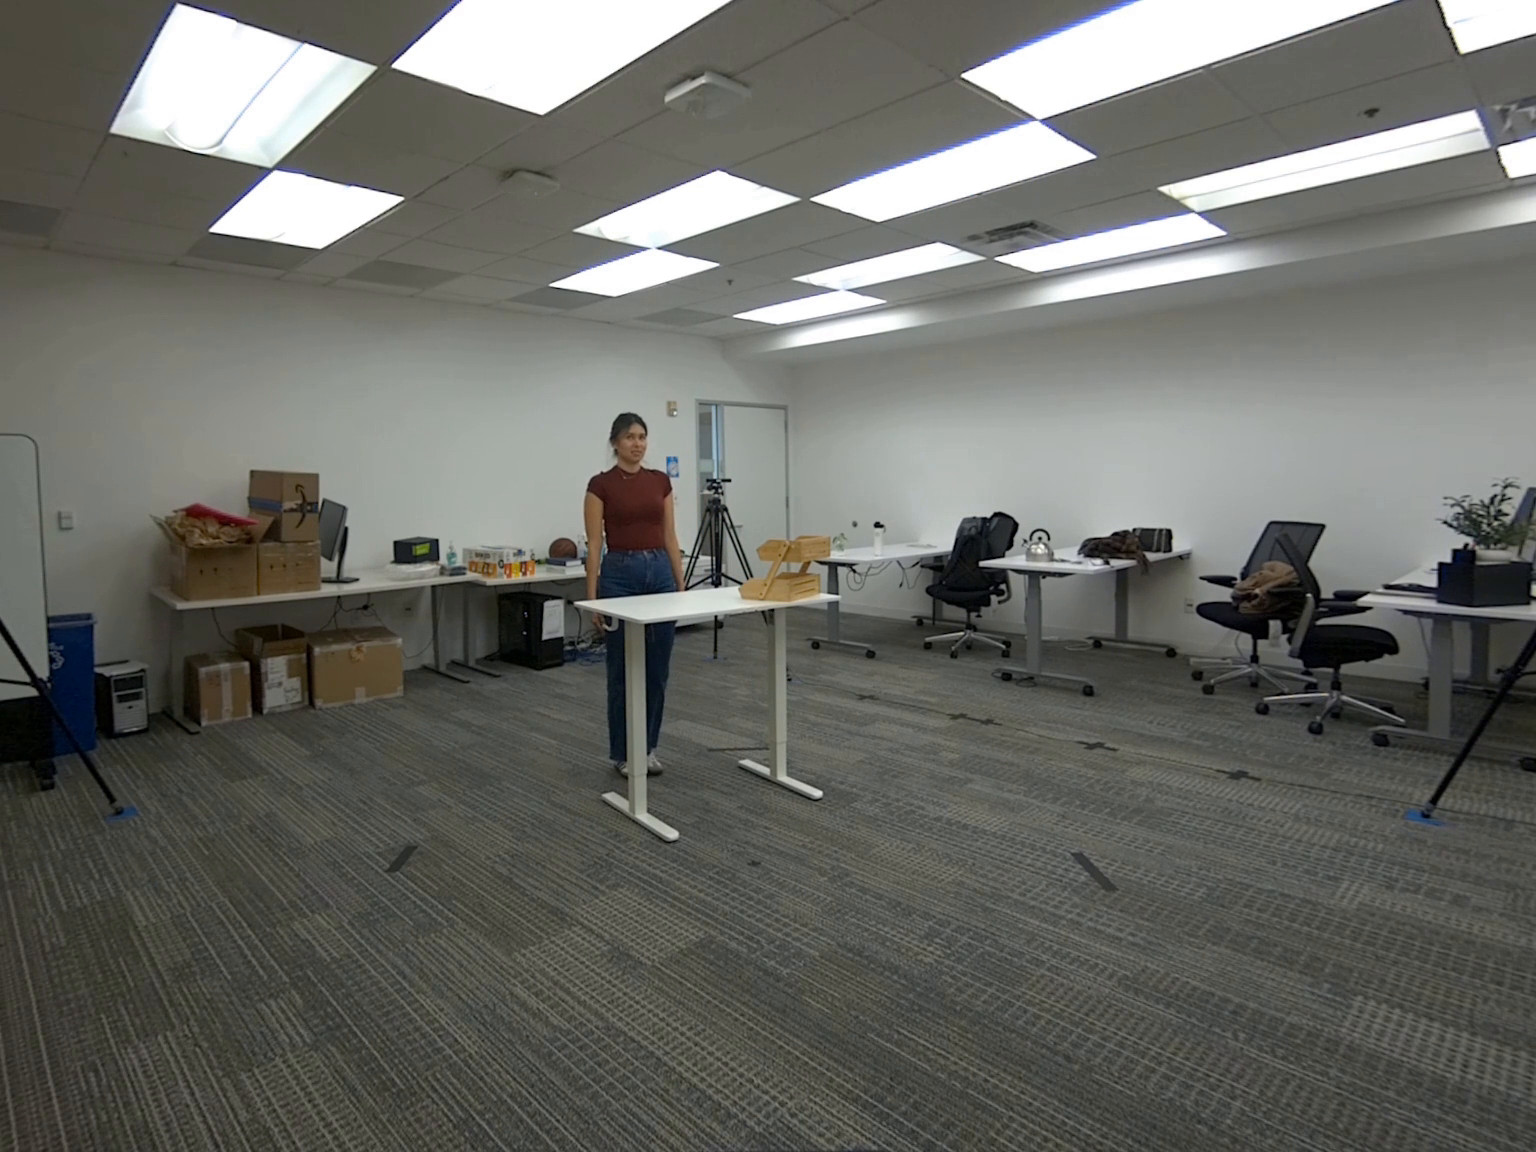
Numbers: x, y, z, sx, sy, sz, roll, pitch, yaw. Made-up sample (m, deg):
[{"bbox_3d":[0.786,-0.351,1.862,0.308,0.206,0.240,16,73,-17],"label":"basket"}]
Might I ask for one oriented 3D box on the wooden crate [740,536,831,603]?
[{"bbox_3d":[0.074,-0.041,3.751,0.310,0.272,0.317,2,6,30],"label":"wooden crate"}]
